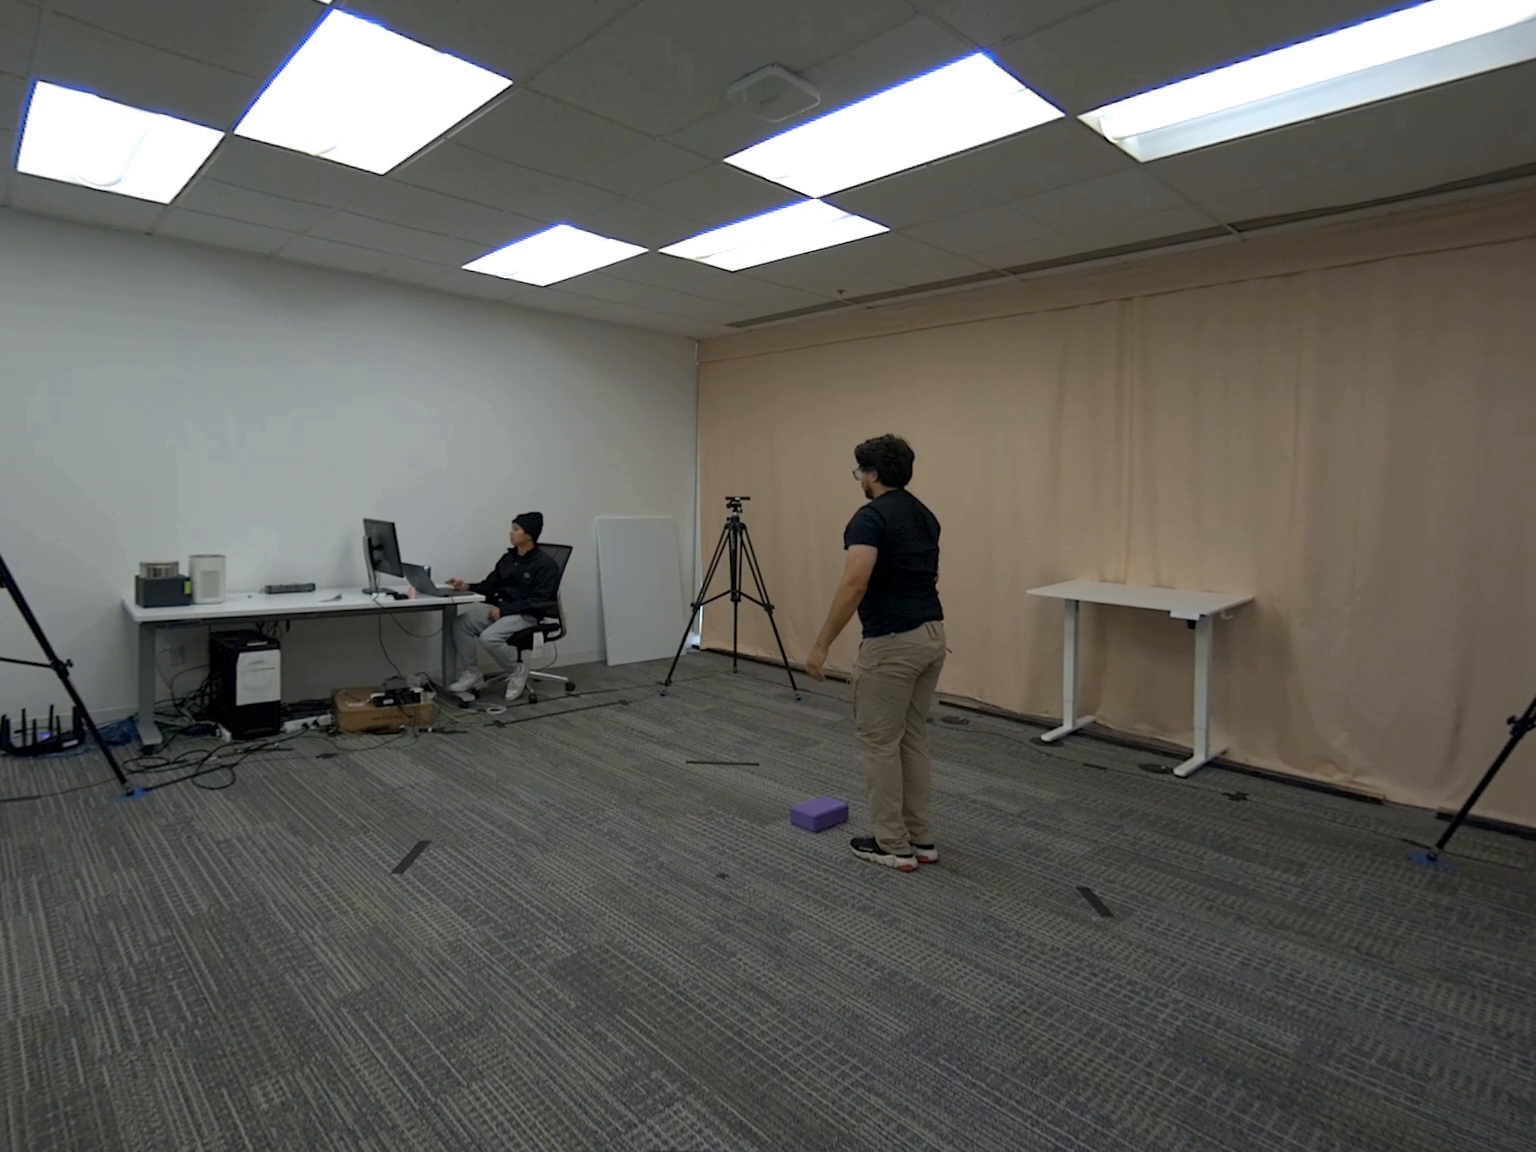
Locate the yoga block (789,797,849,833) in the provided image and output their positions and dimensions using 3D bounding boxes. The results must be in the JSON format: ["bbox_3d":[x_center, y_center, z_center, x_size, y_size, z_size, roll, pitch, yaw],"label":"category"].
[{"bbox_3d":[0.214,1.029,3.650,0.224,0.076,0.153,-3,6,-45],"label":"yoga block"}]
